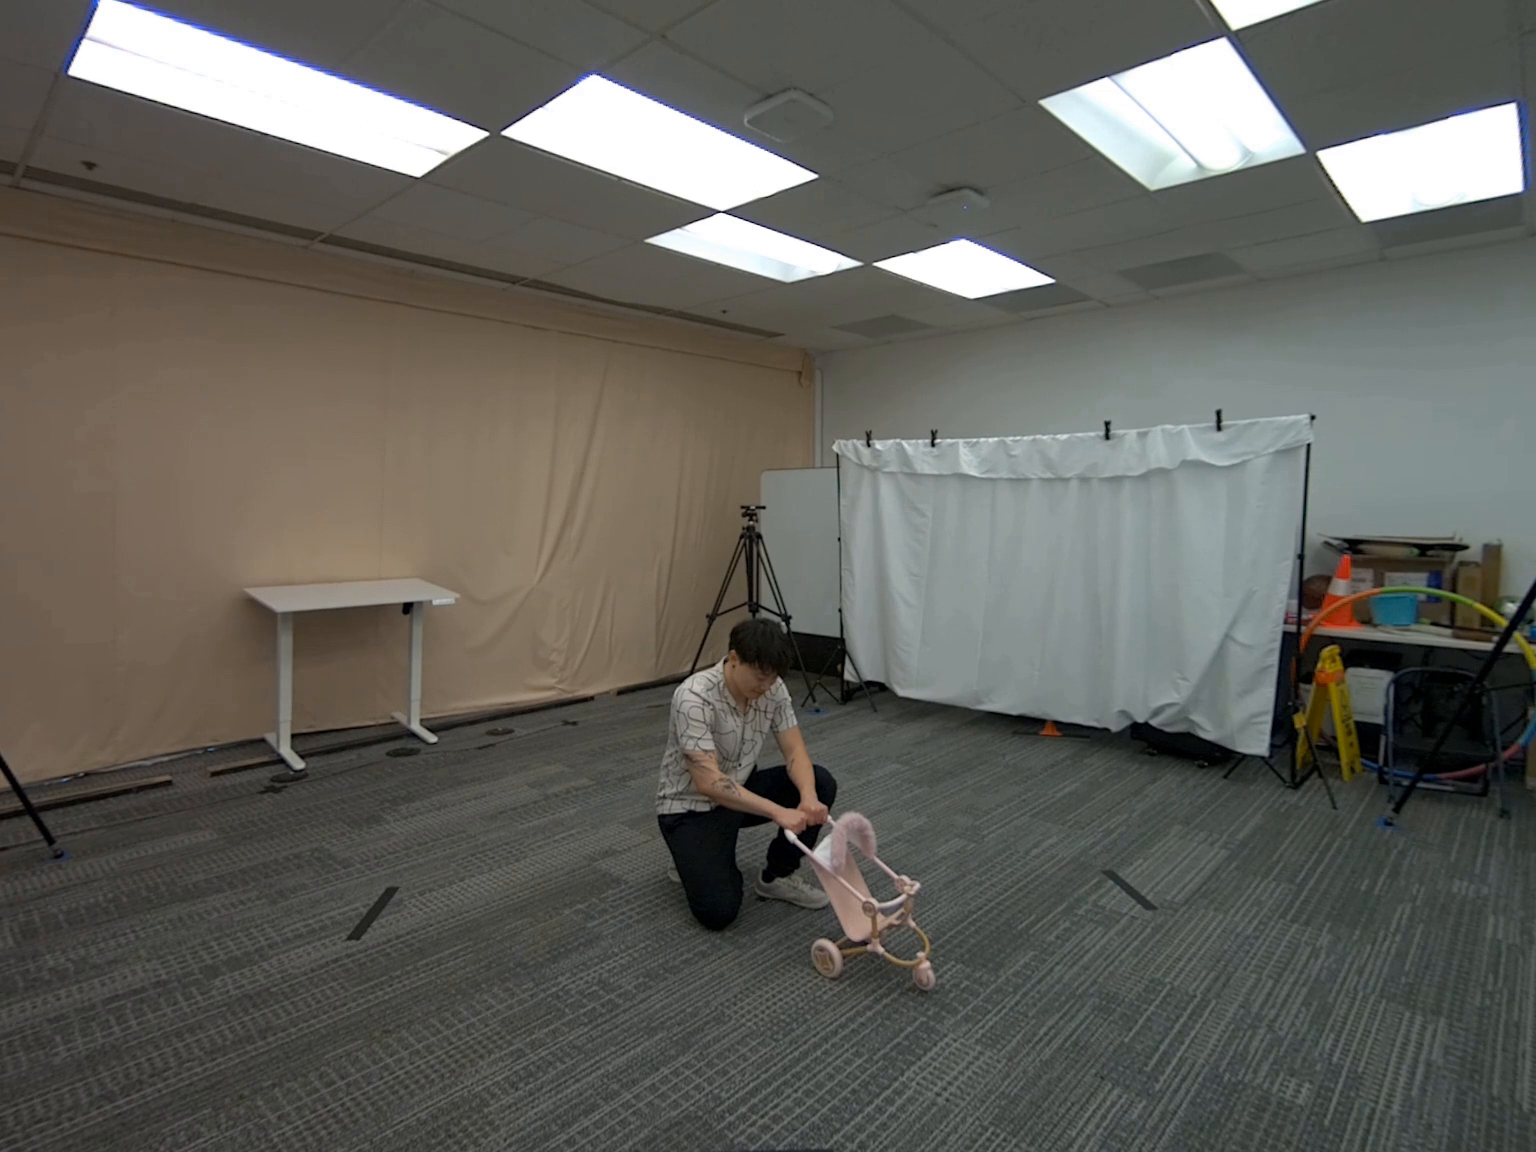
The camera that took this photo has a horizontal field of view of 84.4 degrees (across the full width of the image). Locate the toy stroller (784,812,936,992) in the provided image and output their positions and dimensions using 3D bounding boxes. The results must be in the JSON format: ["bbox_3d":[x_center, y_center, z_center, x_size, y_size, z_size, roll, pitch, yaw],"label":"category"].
[{"bbox_3d":[0.293,0.958,2.535,0.273,0.540,0.348,-6,-14,-46],"label":"toy stroller"}]
